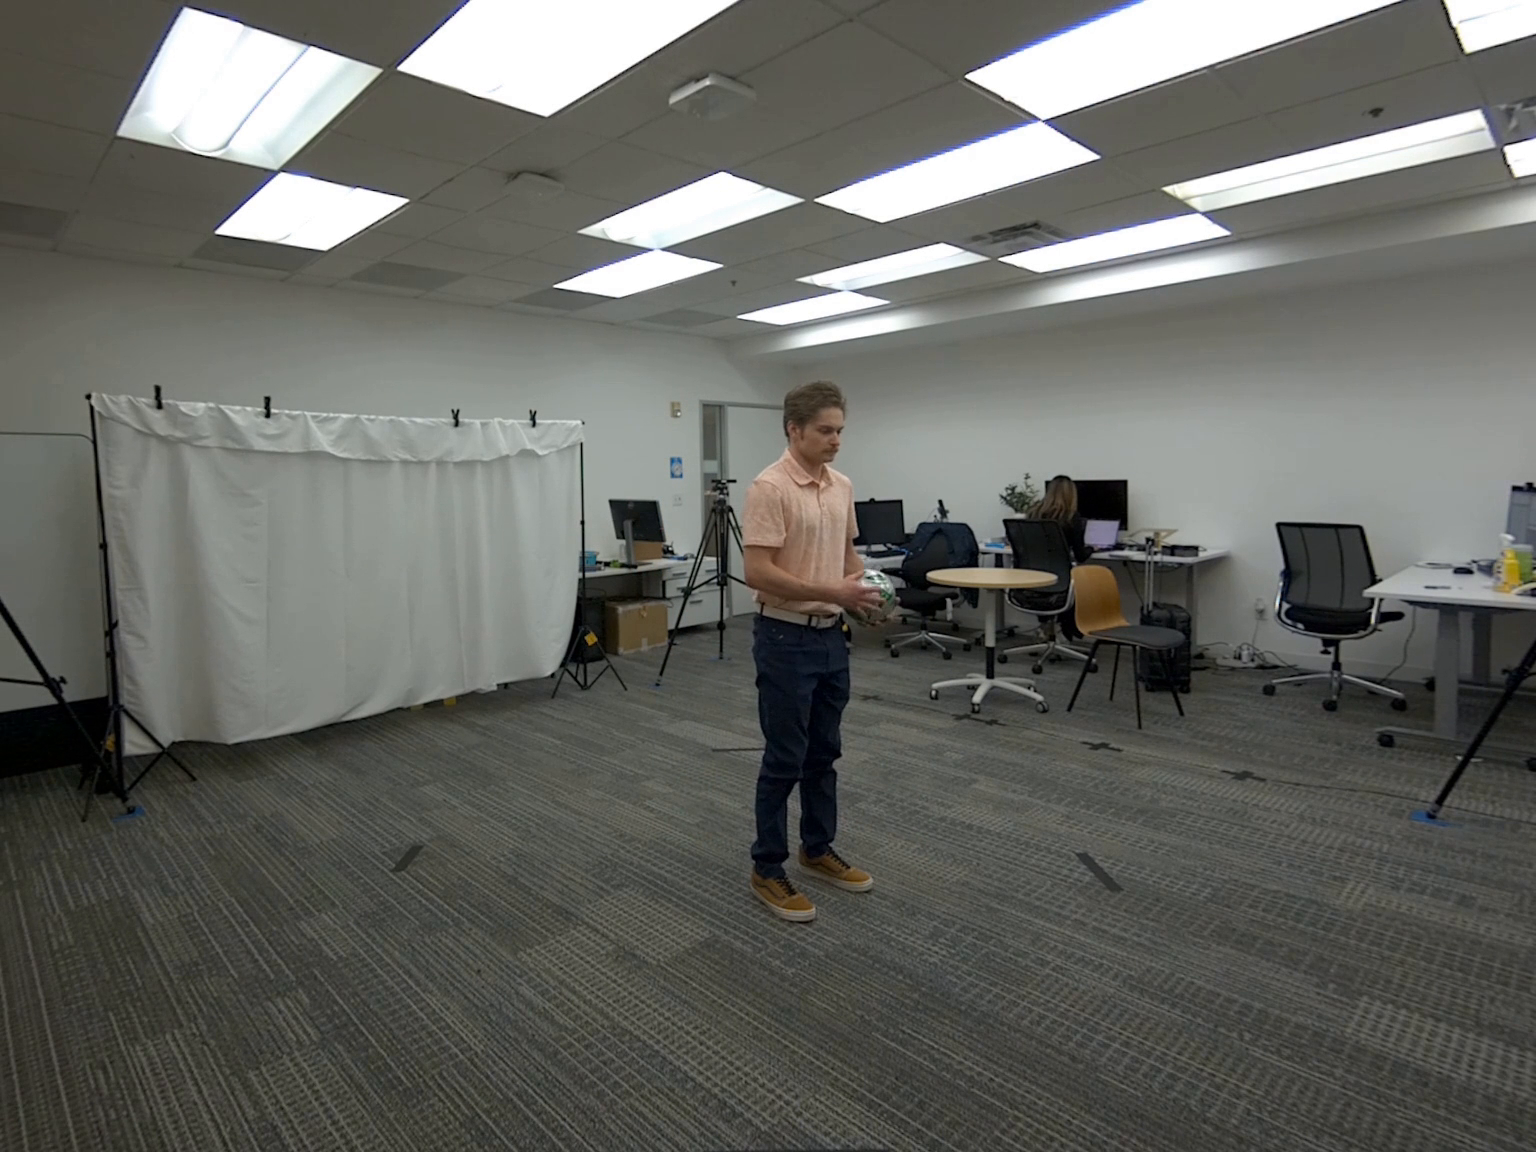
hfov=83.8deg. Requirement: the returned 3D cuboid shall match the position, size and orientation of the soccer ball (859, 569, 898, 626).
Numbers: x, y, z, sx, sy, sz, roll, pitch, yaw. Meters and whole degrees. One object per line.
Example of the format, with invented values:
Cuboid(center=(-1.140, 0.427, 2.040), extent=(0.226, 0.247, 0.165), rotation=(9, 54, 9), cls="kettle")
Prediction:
Cuboid(center=(0.343, 0.073, 2.925), extent=(0.187, 0.187, 0.188), rotation=(-1, 5, -2), cls="soccer ball")
